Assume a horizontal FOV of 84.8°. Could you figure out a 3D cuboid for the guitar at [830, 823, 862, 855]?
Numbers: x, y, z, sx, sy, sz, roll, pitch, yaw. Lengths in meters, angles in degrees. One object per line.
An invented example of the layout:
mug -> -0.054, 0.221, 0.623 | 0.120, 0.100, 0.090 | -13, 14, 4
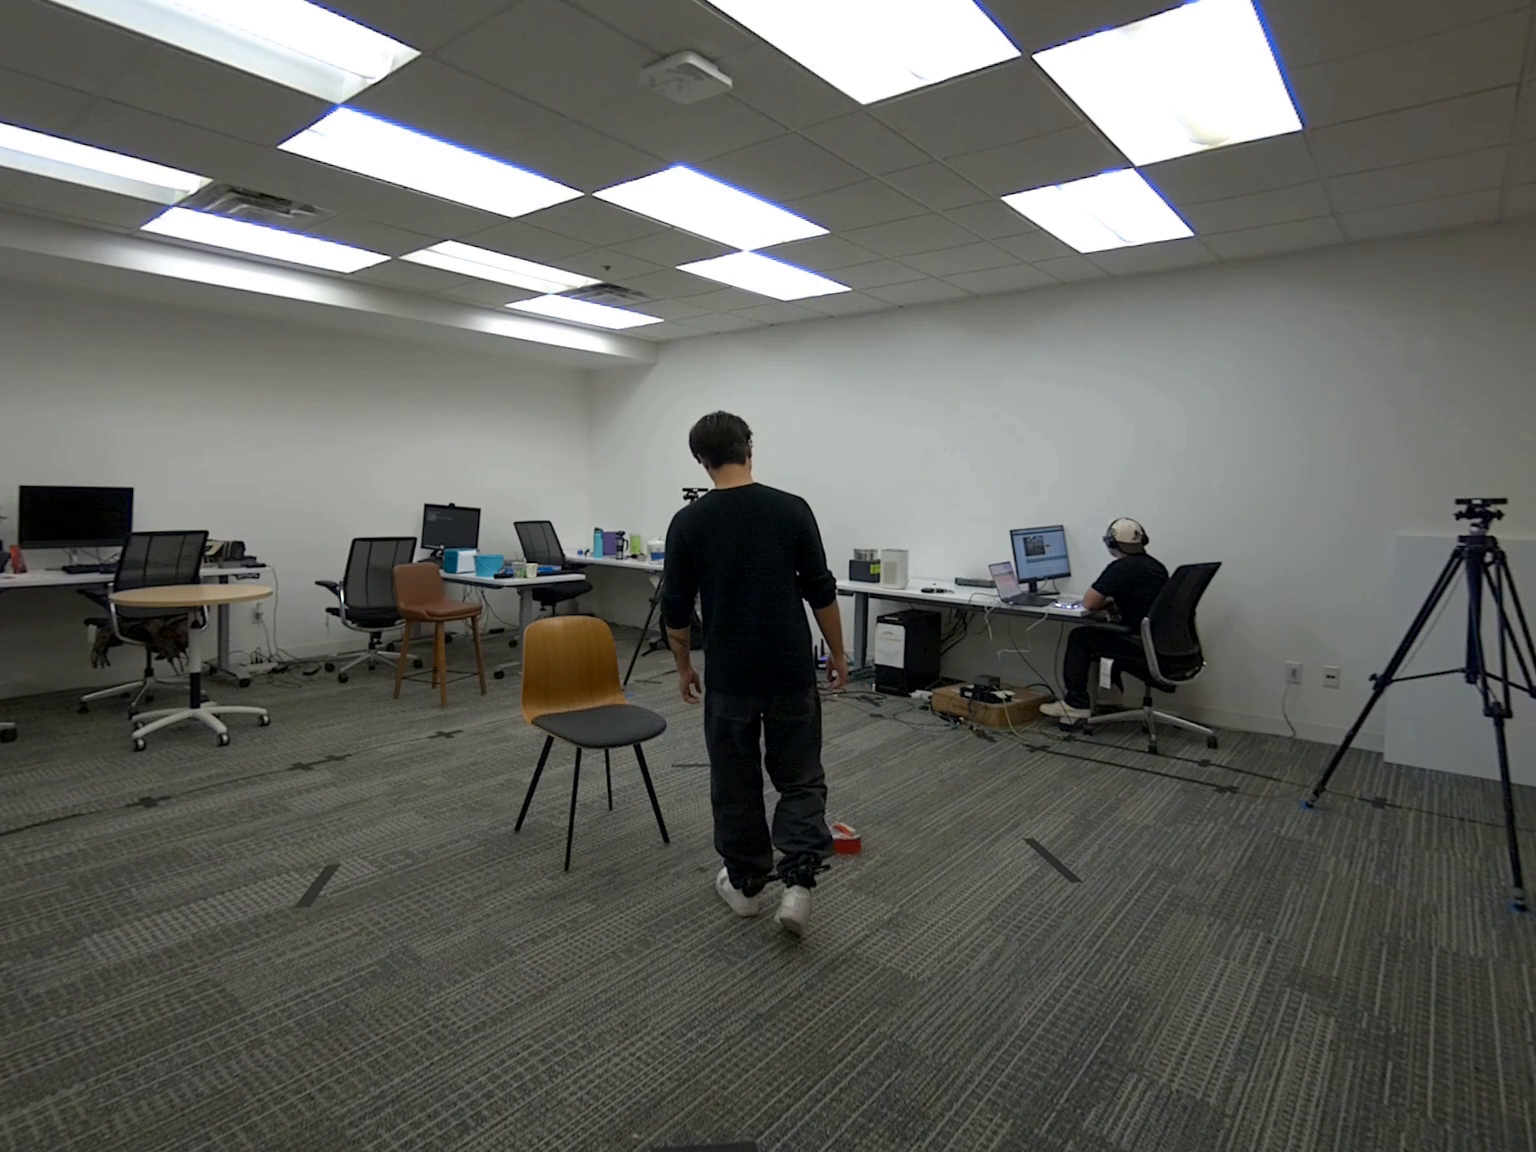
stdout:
guitar -> 0.121, 1.024, 3.285 | 0.486, 0.070, 0.198 | -1, 6, -24
